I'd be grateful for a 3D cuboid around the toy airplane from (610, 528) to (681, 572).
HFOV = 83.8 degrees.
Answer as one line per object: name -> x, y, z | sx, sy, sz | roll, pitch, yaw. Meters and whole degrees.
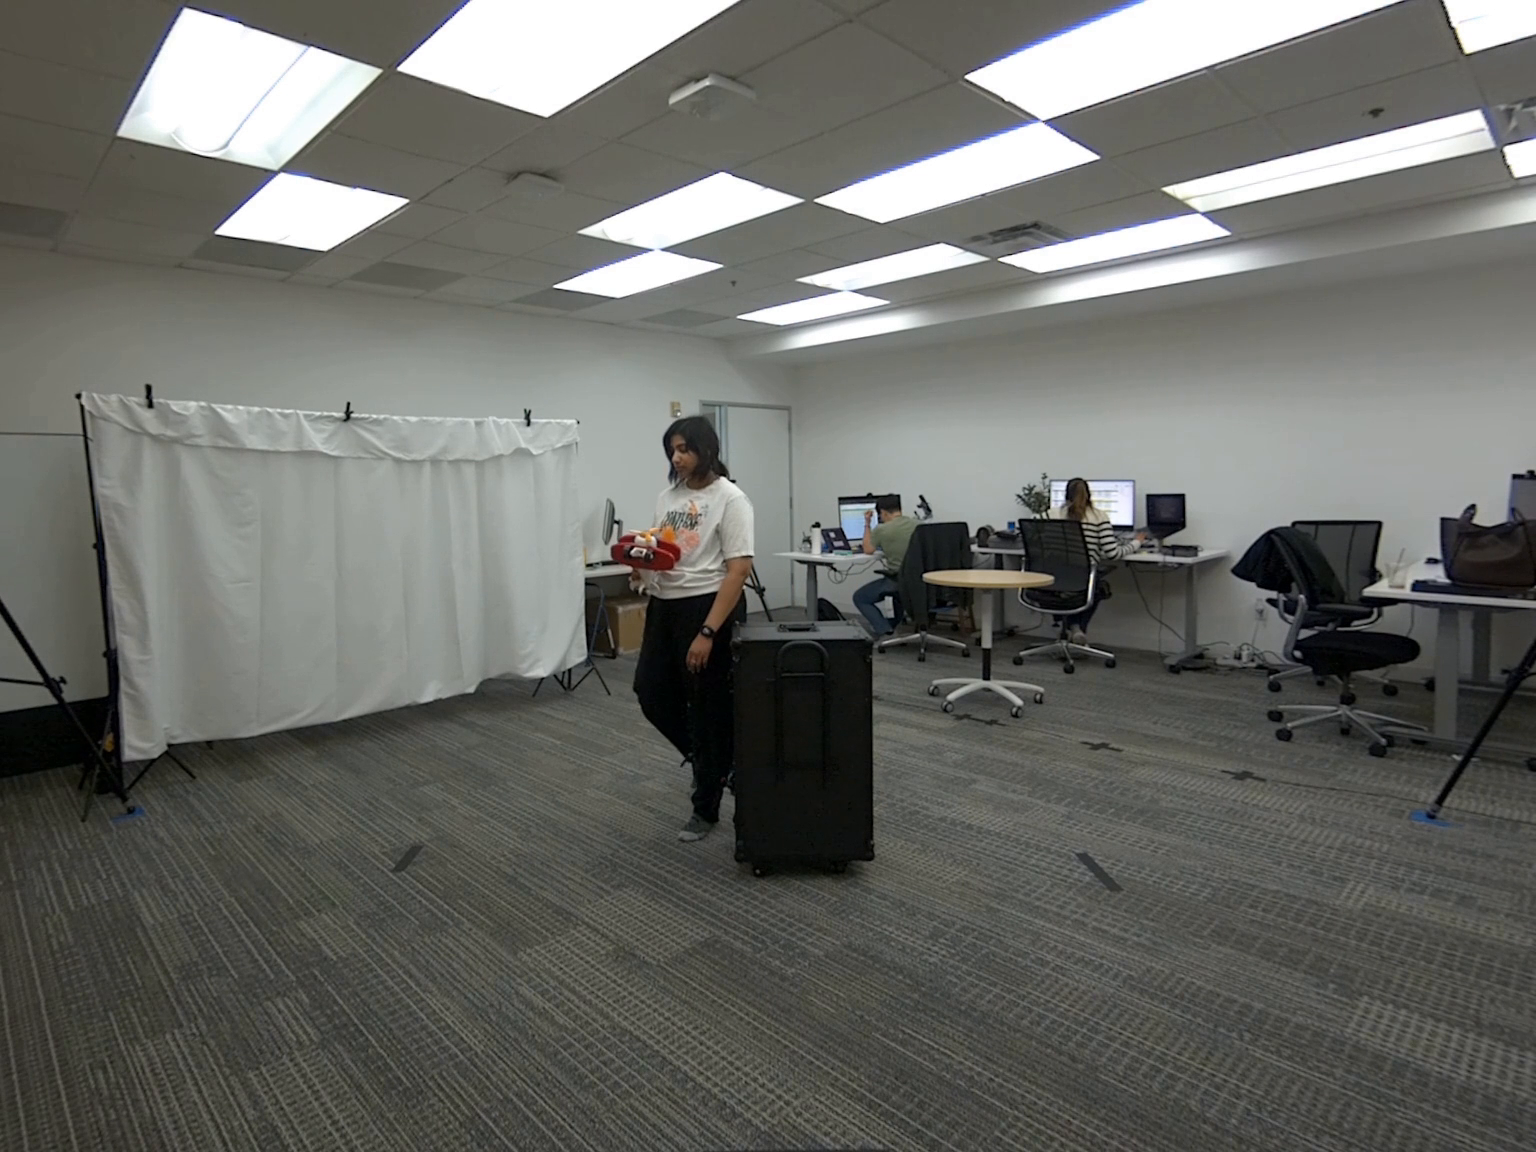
toy airplane -> -0.494, -0.050, 3.278 | 0.249, 0.257, 0.159 | 28, 41, -7
